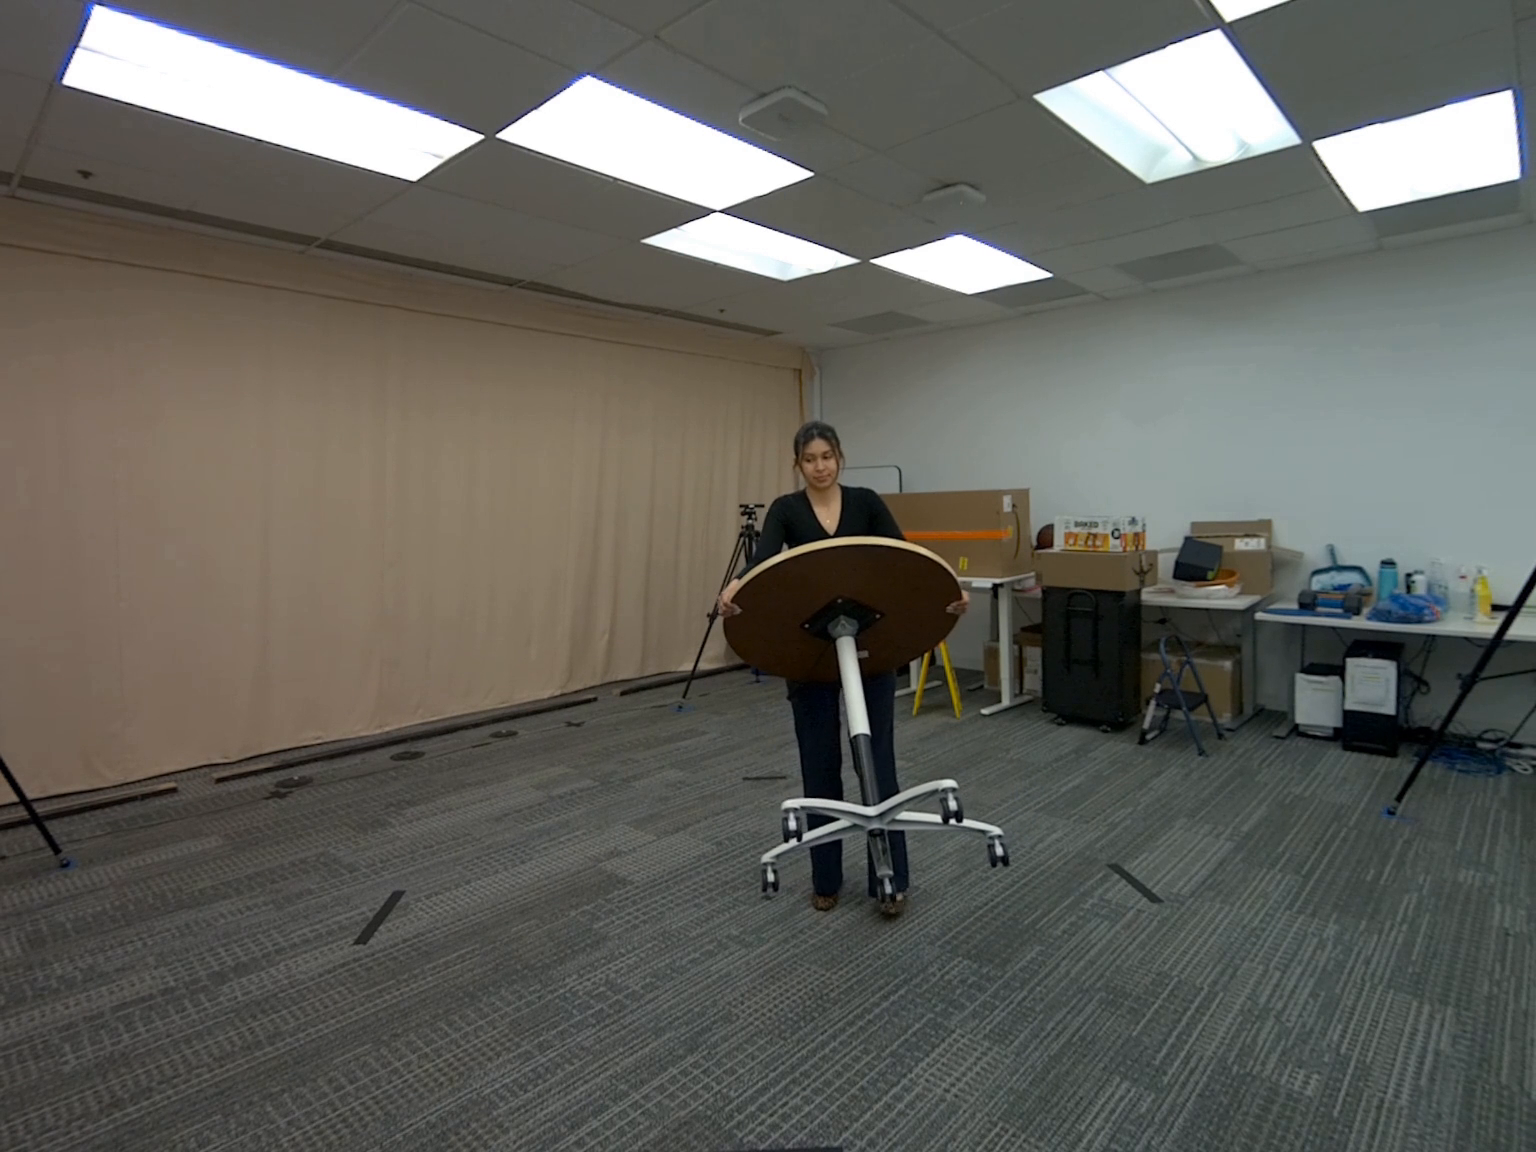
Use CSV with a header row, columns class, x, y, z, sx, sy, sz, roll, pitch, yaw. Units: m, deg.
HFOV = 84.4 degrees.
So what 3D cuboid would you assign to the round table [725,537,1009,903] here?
class,x,y,z,sx,sy,sz,roll,pitch,yaw
round table,0.274,0.443,2.463,0.762,0.810,0.751,-2,-38,-3
